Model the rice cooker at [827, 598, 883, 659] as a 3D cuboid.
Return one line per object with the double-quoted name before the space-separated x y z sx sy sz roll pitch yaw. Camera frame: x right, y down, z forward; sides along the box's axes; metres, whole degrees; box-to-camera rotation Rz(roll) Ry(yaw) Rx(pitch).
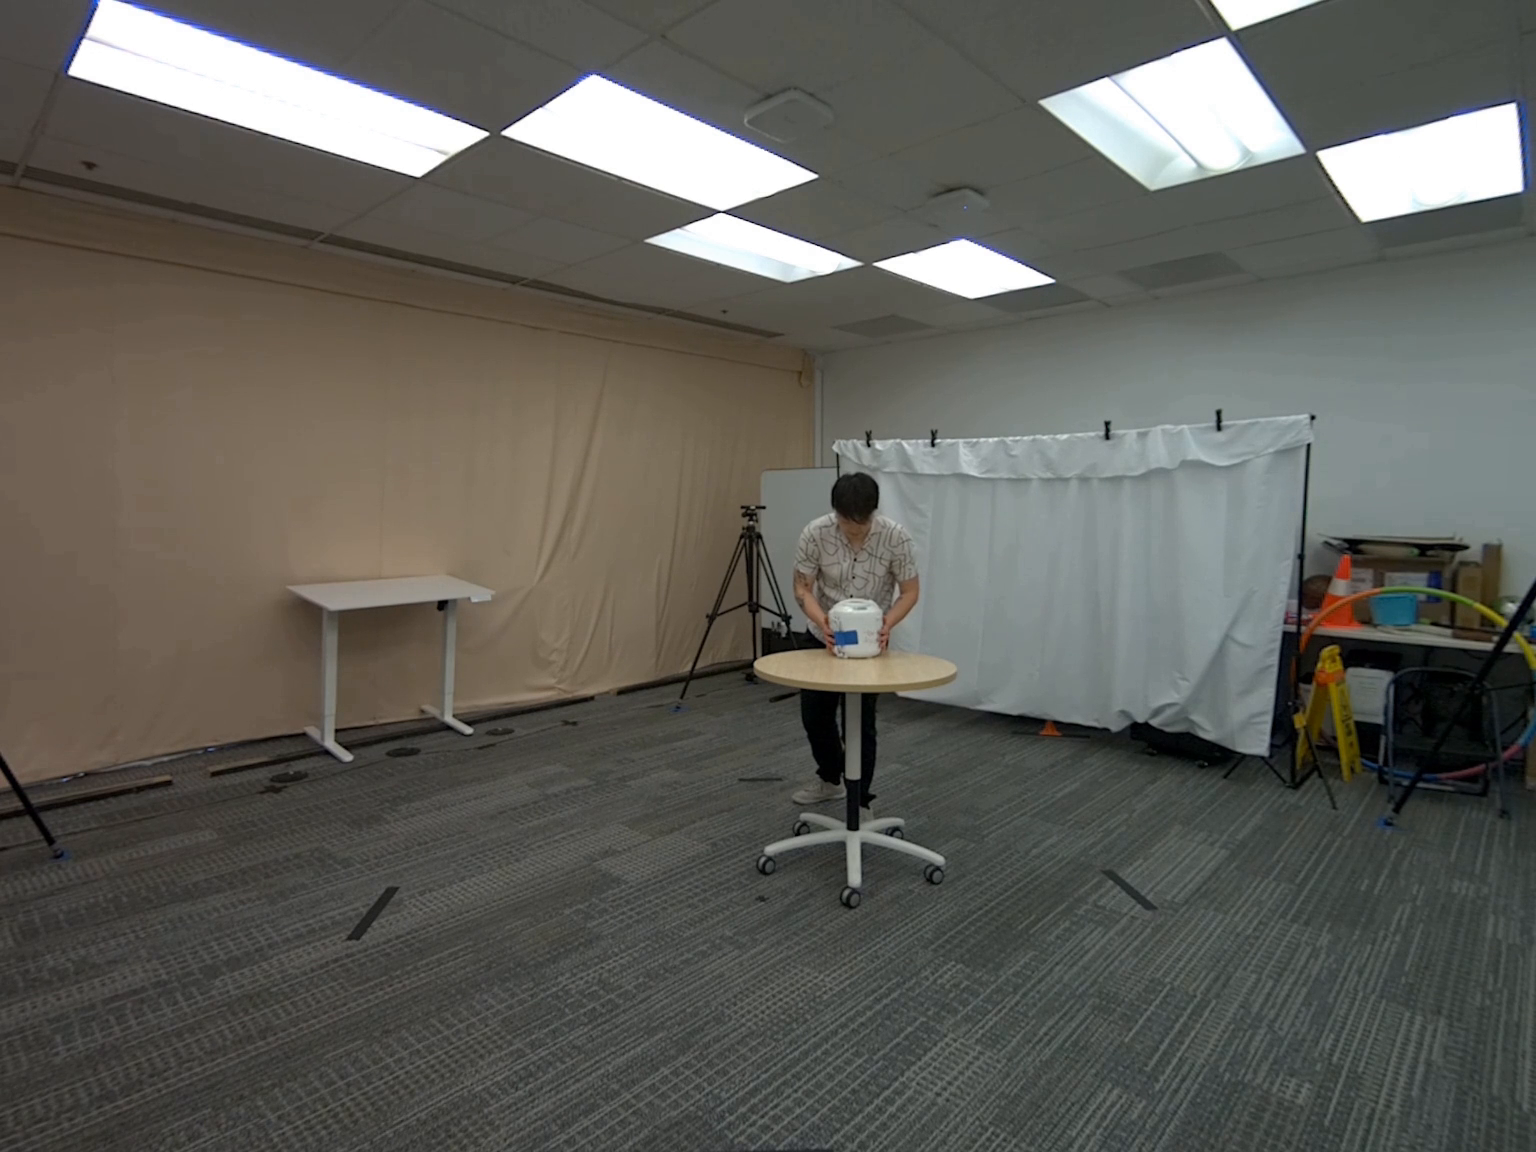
"rice cooker" 0.356 0.207 3.437 0.221 0.232 0.217 1 4 2
